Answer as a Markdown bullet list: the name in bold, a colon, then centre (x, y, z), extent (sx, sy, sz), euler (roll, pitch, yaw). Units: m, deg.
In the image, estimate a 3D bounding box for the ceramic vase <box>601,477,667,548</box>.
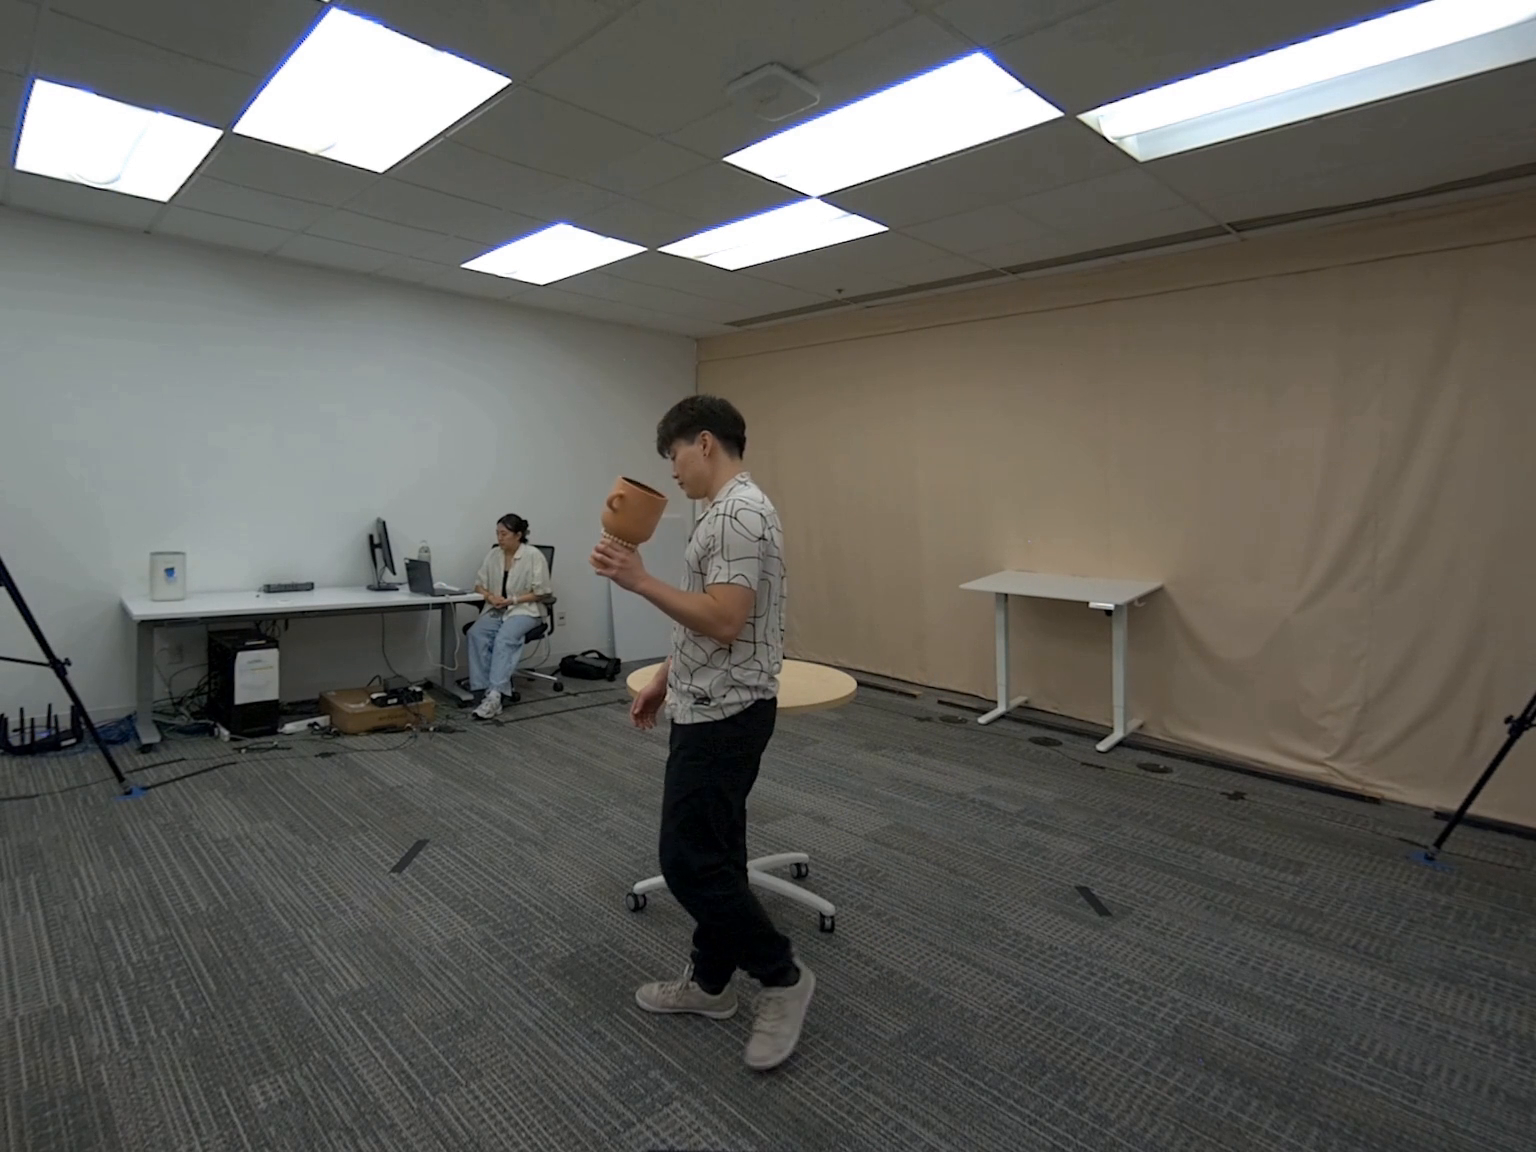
- **ceramic vase**: centre (-0.349, -0.115, 2.029), extent (0.156, 0.219, 0.137), euler (24, 7, -21)
